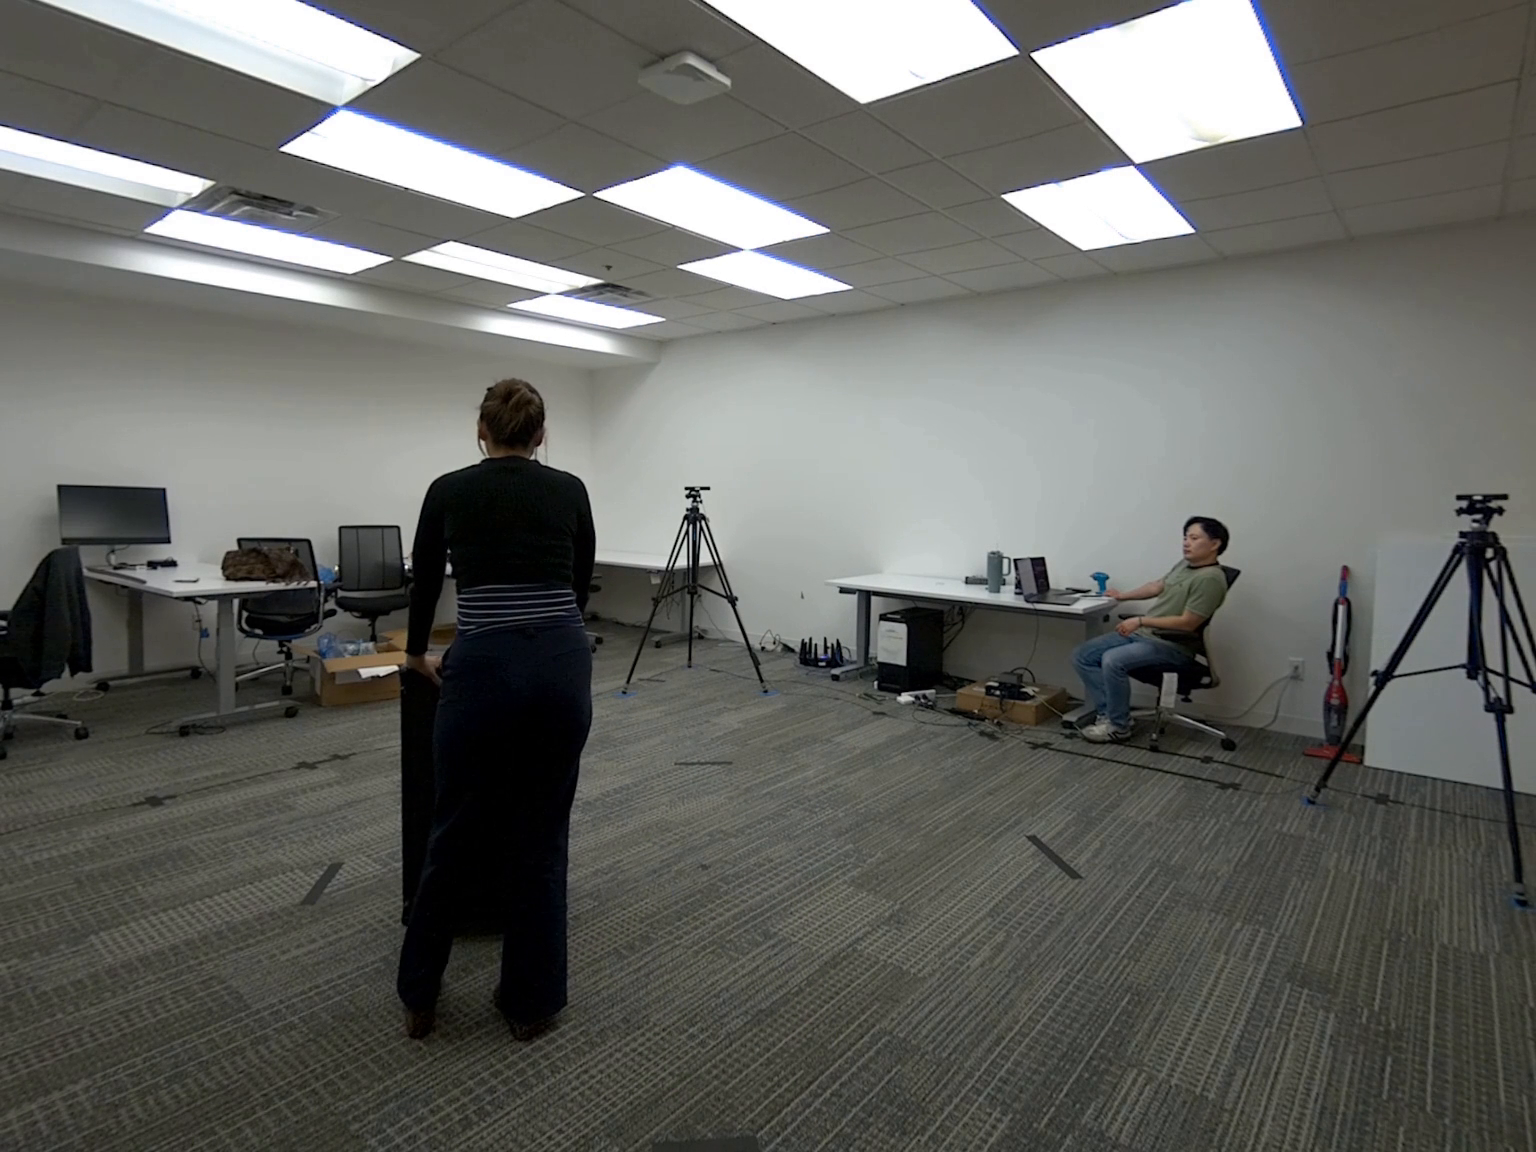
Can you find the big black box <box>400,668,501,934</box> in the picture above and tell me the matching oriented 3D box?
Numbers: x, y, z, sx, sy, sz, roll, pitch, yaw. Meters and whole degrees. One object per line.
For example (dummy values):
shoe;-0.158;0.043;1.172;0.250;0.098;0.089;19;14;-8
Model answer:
big black box;-0.895;0.669;2.713;0.515;0.858;0.402;1;4;-11
